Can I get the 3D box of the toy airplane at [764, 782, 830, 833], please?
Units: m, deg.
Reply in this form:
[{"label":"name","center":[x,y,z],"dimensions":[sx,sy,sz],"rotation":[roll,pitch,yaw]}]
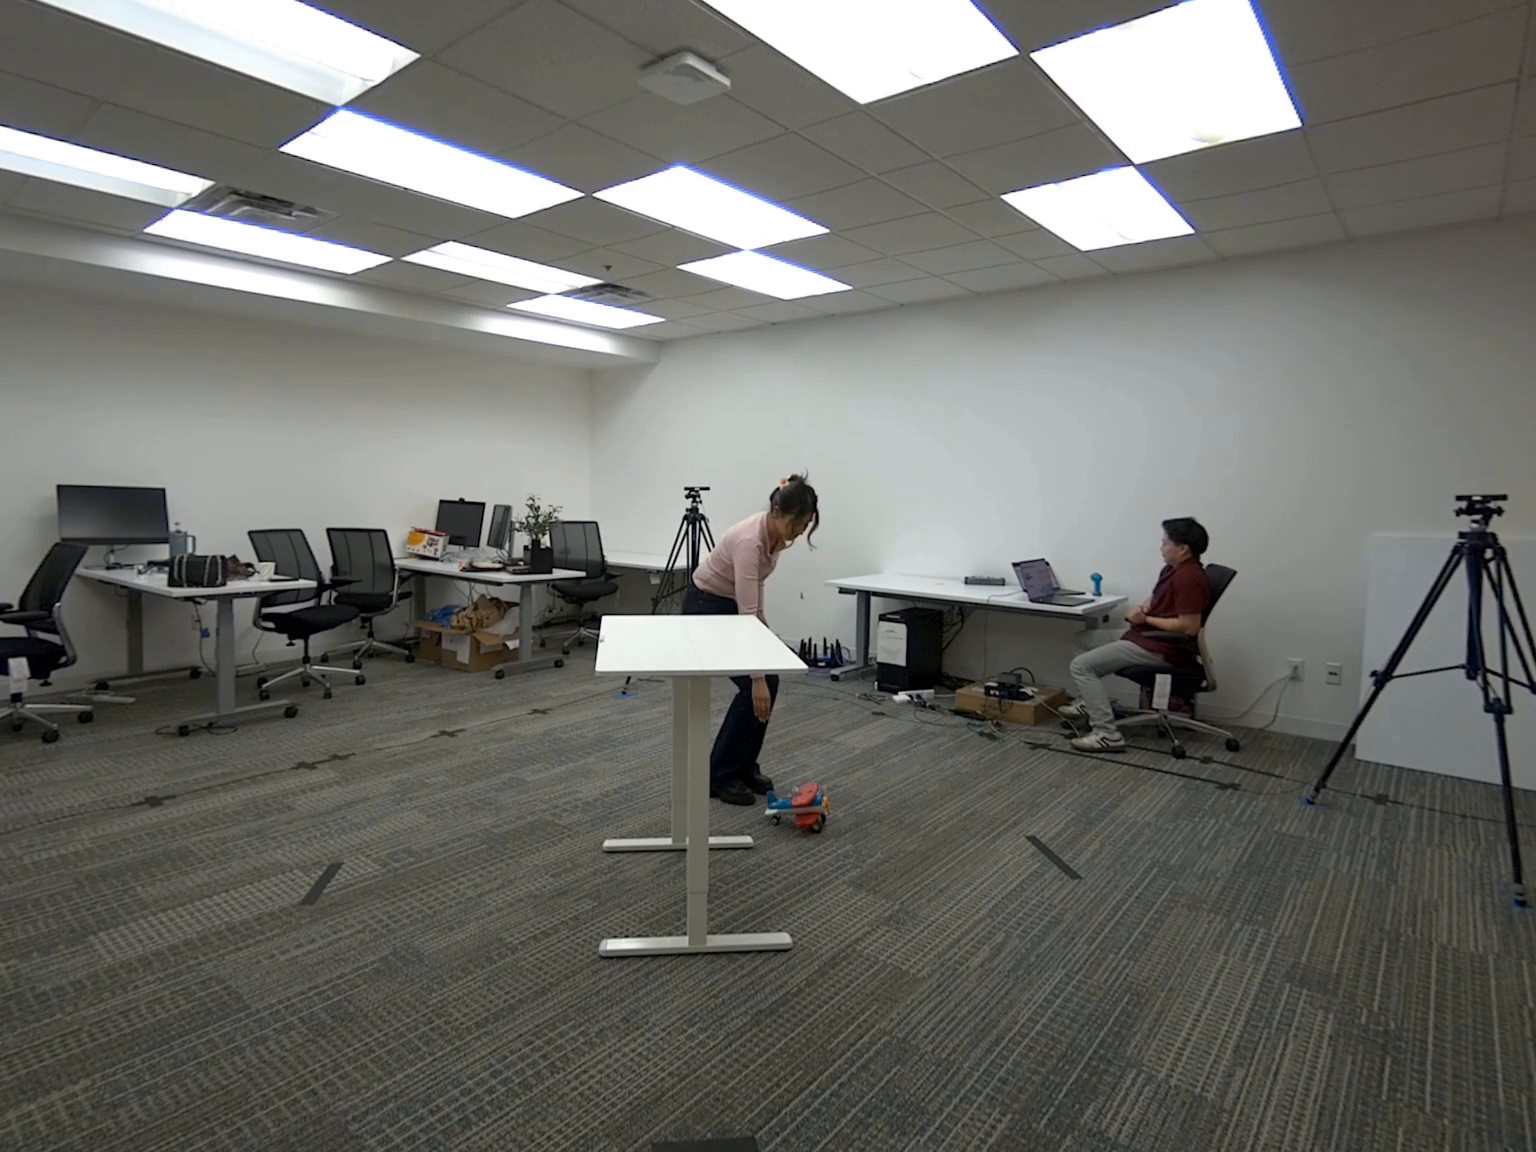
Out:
[{"label":"toy airplane","center":[0.113,0.958,3.500],"dimensions":[0.255,0.156,0.256],"rotation":[1,6,-14]}]
